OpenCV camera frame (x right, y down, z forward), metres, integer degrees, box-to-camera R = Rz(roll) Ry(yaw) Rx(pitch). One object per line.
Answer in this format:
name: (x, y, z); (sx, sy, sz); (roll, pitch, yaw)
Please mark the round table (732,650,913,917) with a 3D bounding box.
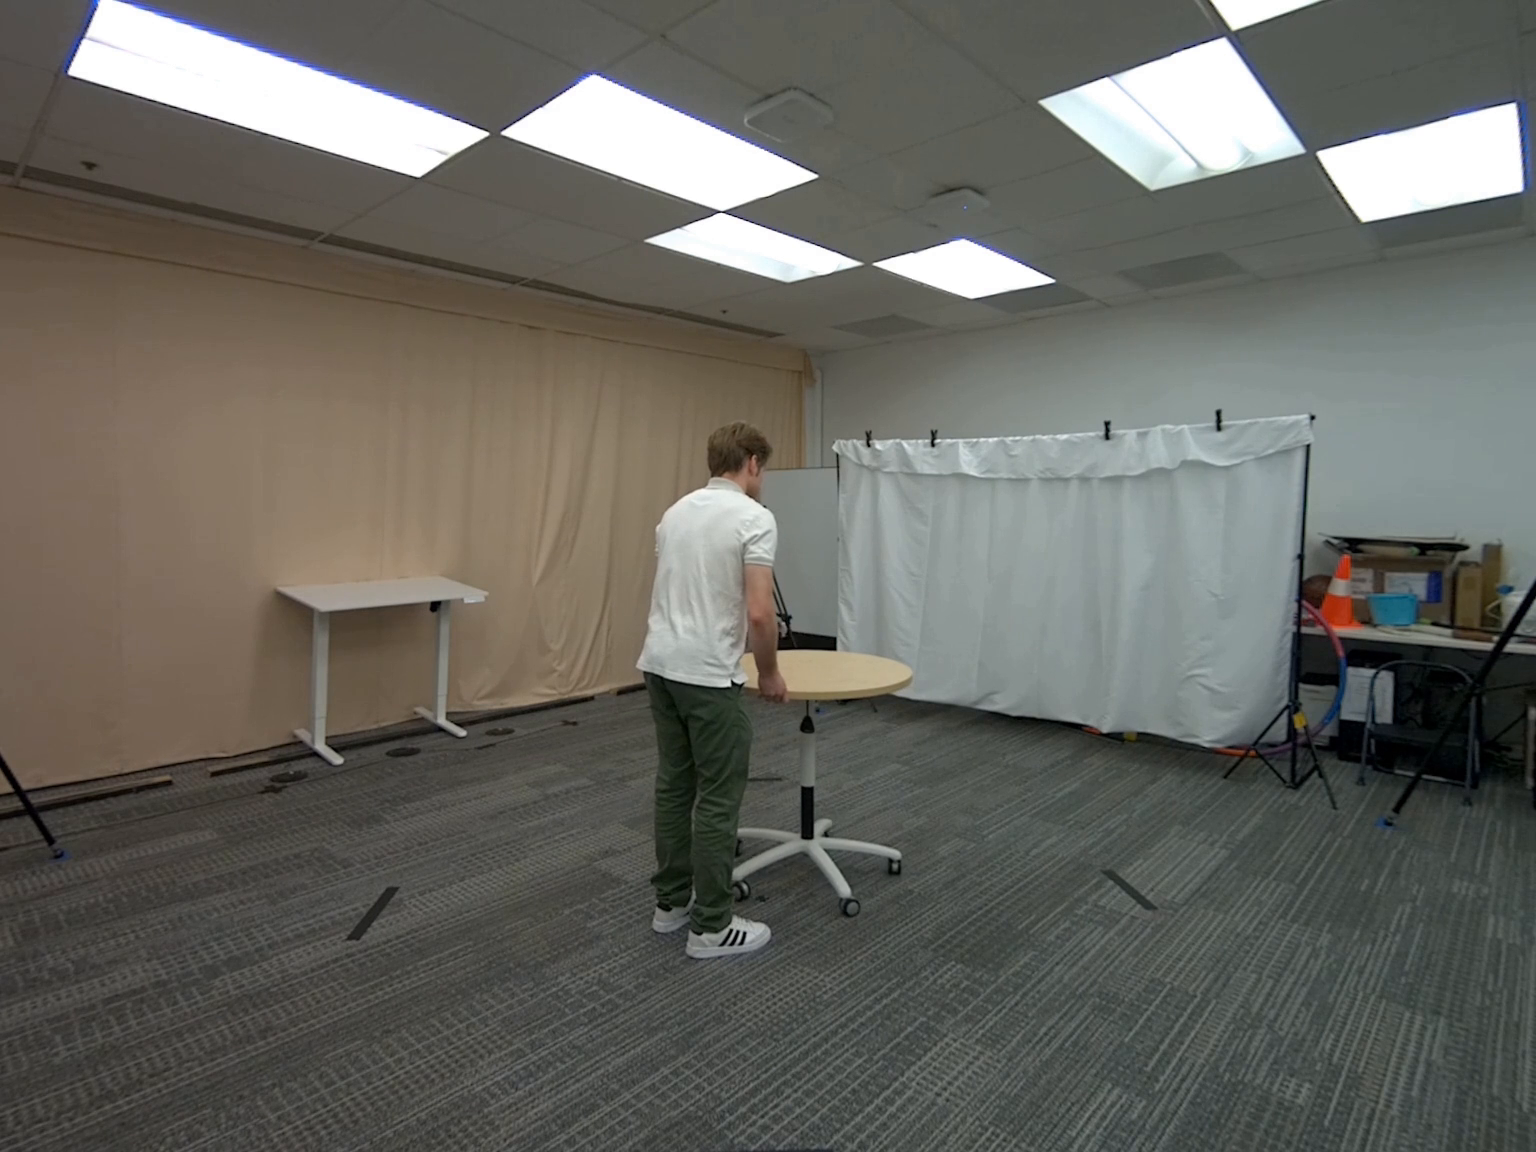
round table: (0.153, 0.737, 3.164); (0.763, 0.792, 0.767); (0, 4, -2)
